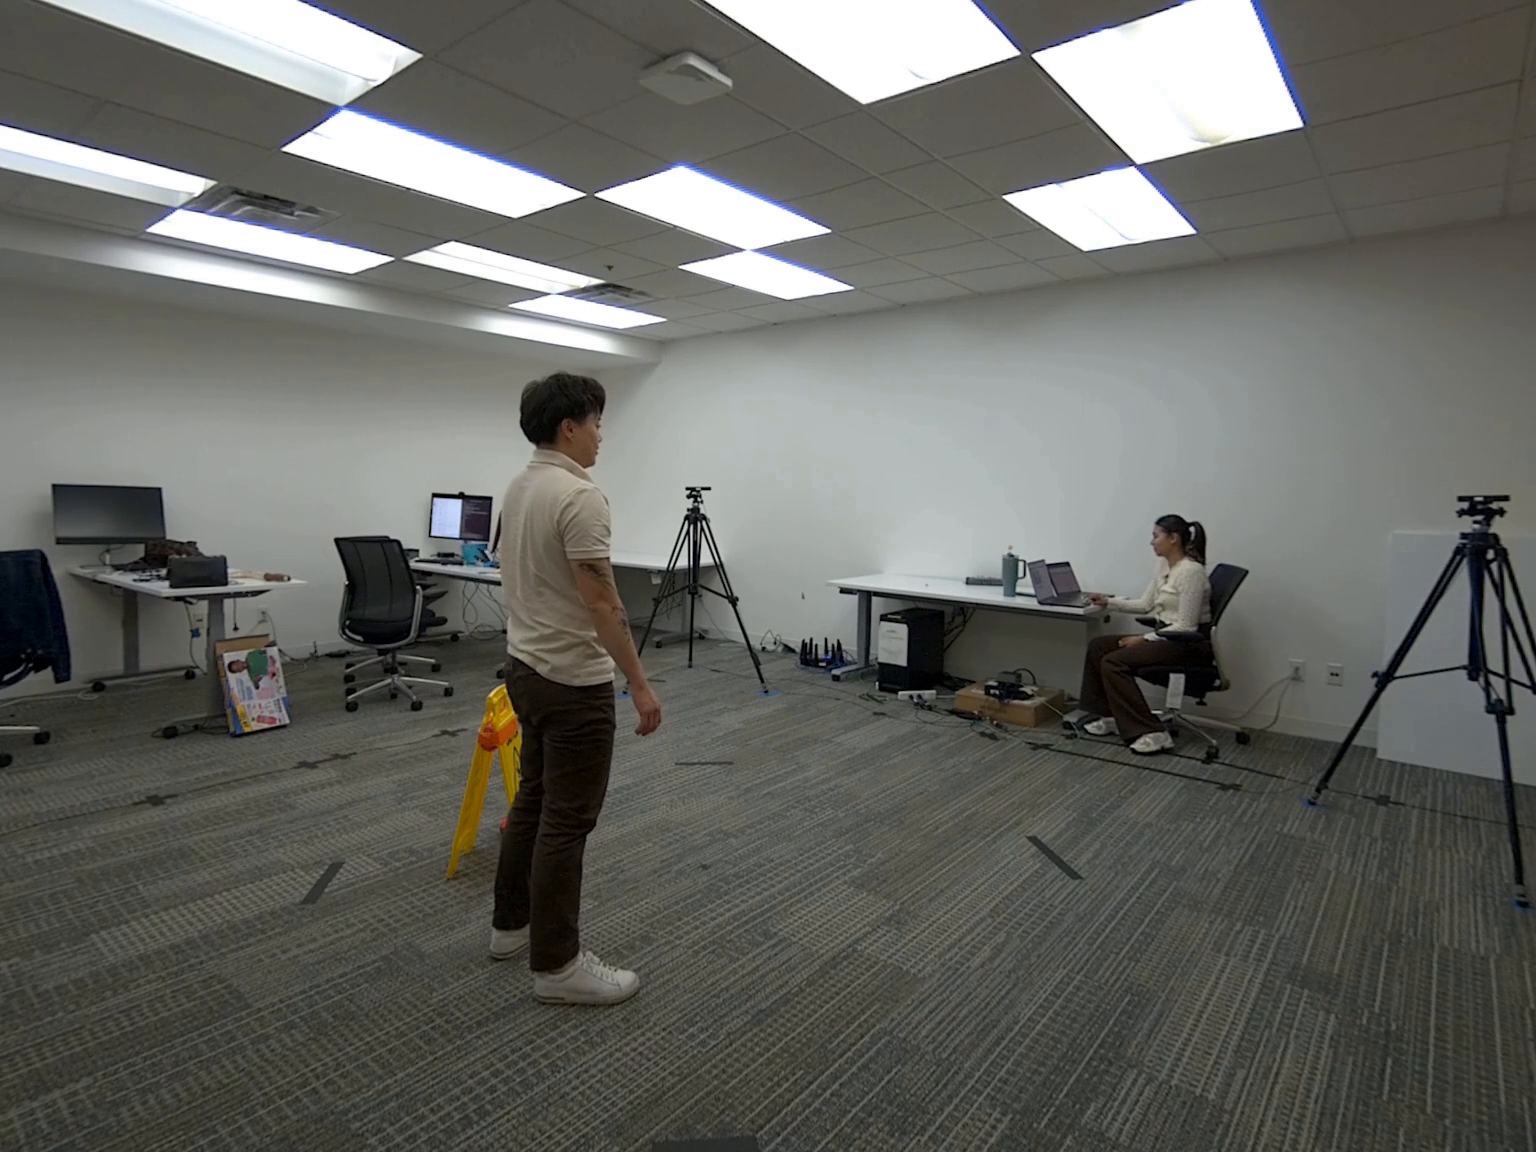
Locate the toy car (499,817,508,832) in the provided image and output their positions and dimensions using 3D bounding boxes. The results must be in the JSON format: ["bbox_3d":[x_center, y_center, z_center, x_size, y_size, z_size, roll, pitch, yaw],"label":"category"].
[{"bbox_3d":[-1.013,0.982,3.440,0.130,0.084,0.253,2,-5,-3],"label":"toy car"}]
